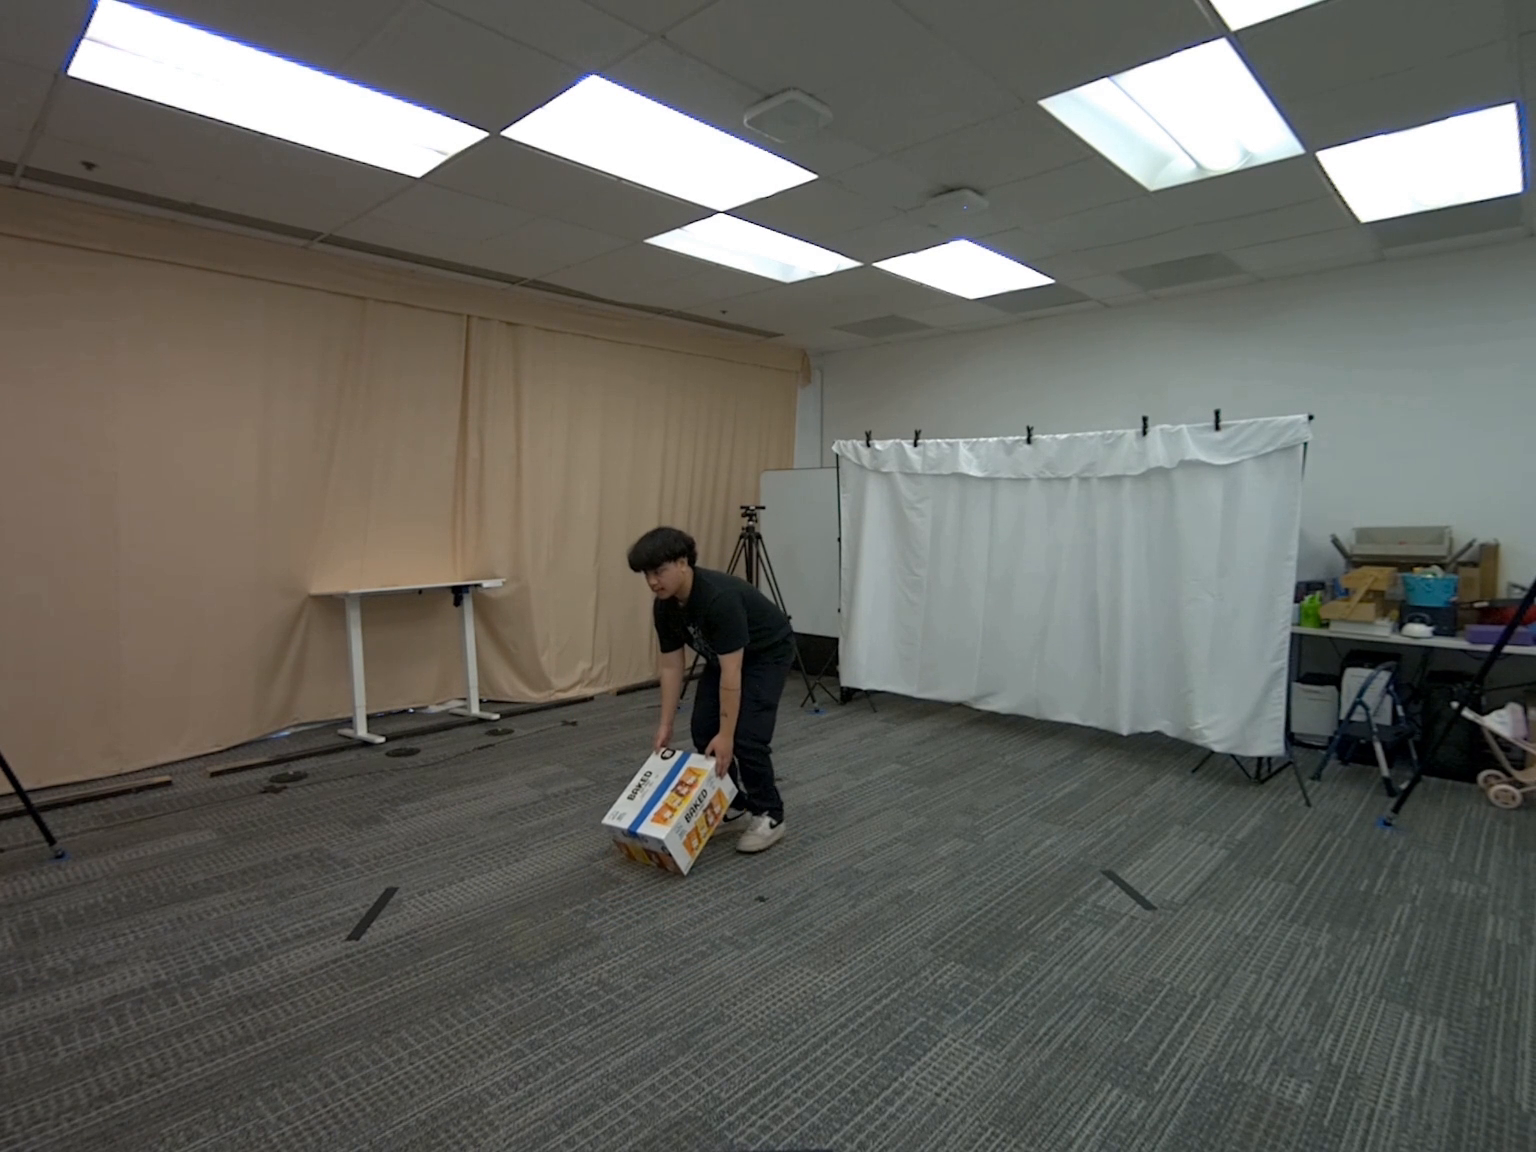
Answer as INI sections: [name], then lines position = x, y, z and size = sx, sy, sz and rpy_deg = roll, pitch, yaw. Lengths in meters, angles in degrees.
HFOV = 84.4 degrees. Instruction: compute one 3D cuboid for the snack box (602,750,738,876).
[snack box]
position = -0.382, 0.916, 3.333
size = 0.351, 0.200, 0.402
rpy_deg = 0, 38, 39
